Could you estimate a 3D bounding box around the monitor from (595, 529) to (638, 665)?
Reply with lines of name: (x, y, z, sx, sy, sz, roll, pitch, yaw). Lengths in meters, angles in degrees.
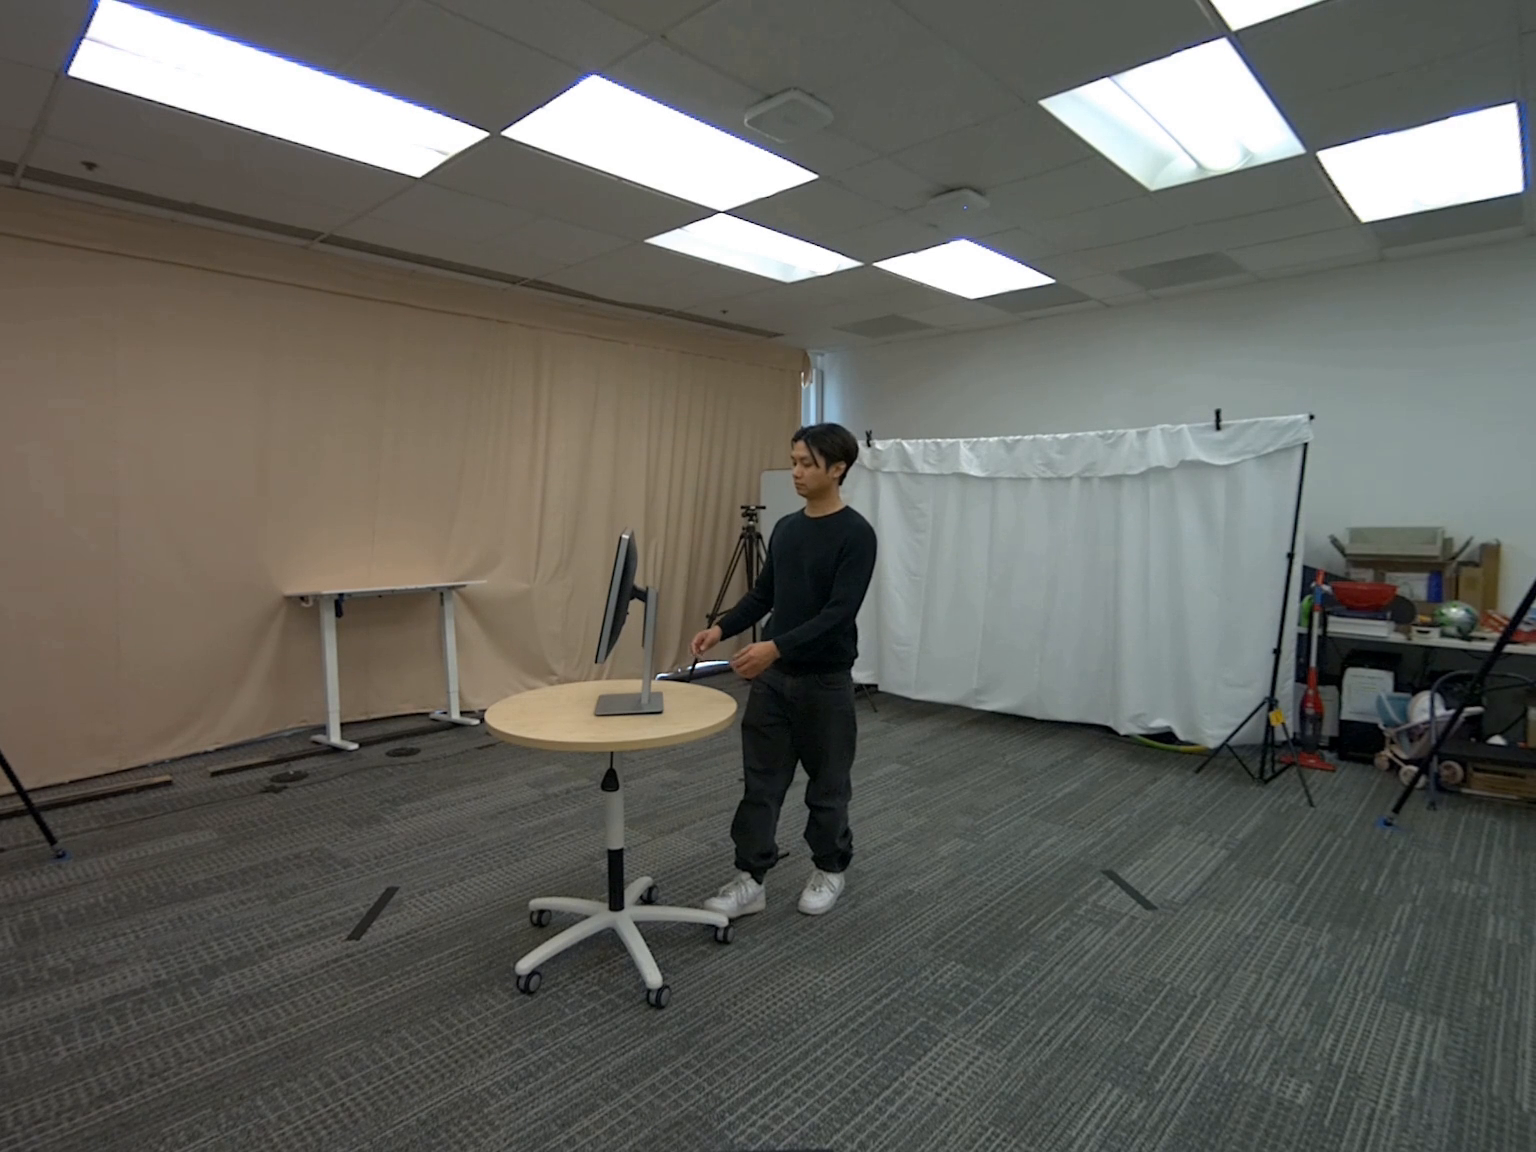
monitor: (-0.435, 0.135, 2.585, 0.173, 0.514, 0.536, -5, 5, -9)
